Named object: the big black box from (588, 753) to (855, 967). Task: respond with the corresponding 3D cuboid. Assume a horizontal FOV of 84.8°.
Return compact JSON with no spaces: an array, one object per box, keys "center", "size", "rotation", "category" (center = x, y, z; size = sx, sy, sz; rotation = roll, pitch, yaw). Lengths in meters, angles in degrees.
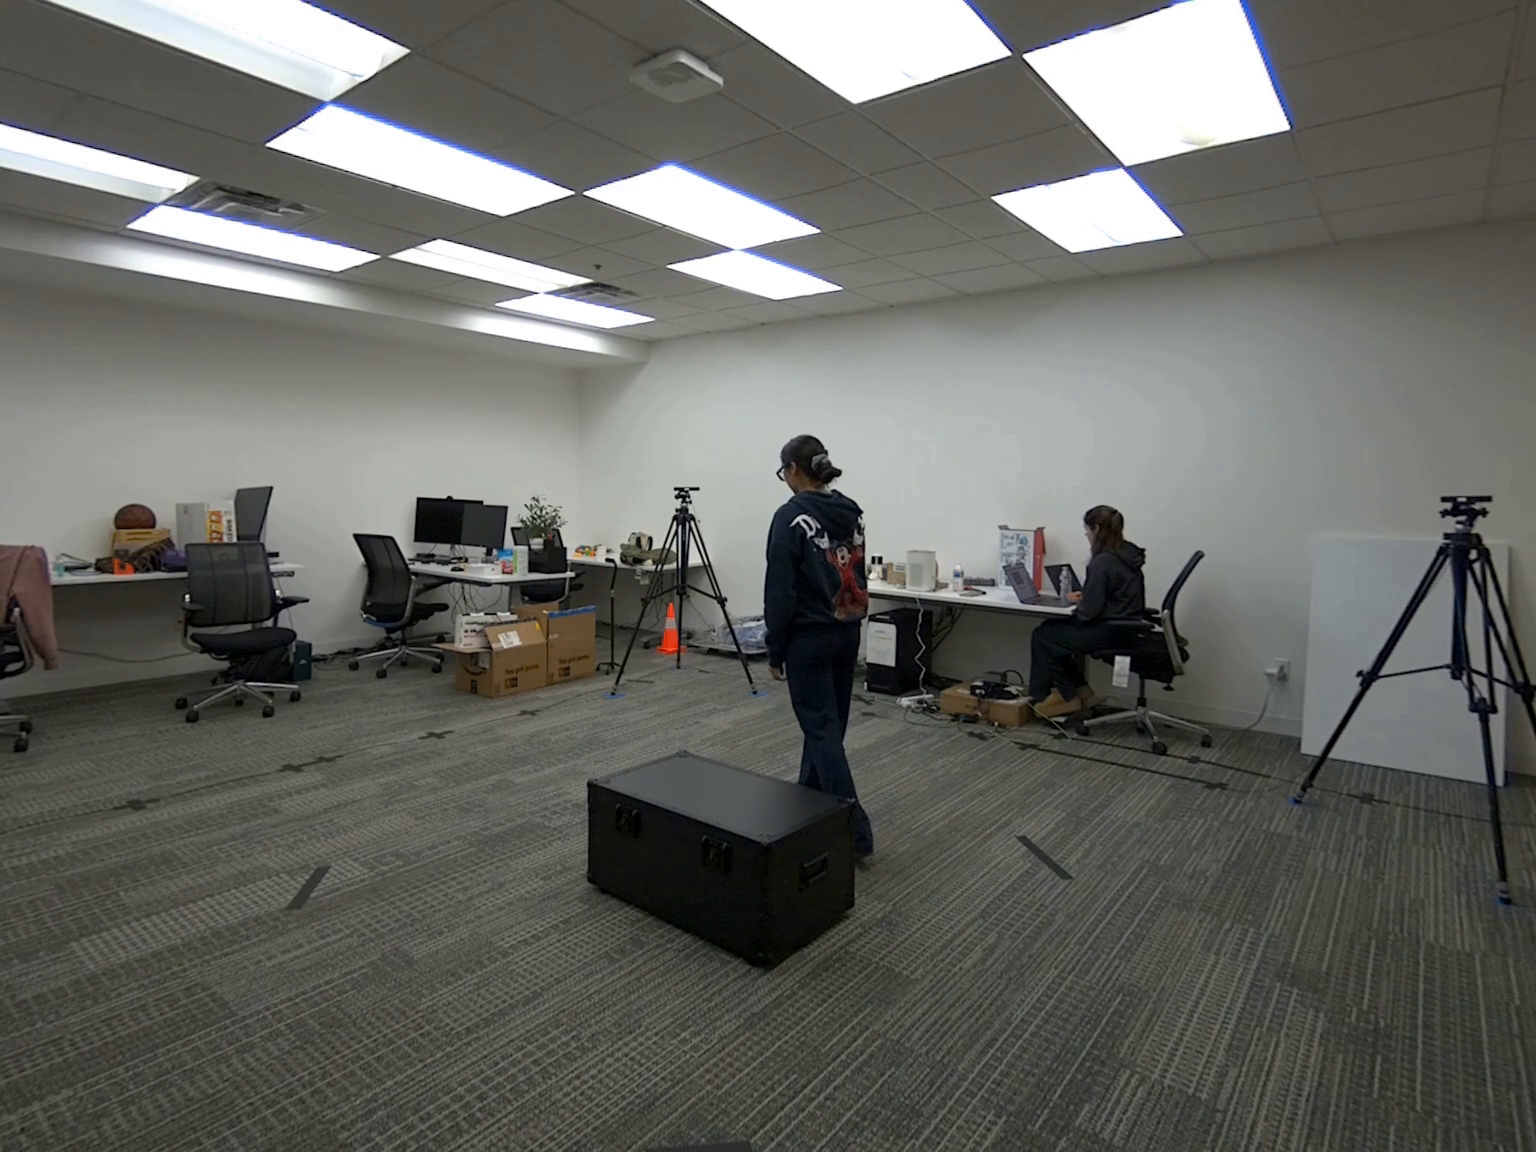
[{"center":[-0.200,0.900,2.875],"size":[0.891,0.395,0.506],"rotation":[6,6,38],"category":"big black box"}]
